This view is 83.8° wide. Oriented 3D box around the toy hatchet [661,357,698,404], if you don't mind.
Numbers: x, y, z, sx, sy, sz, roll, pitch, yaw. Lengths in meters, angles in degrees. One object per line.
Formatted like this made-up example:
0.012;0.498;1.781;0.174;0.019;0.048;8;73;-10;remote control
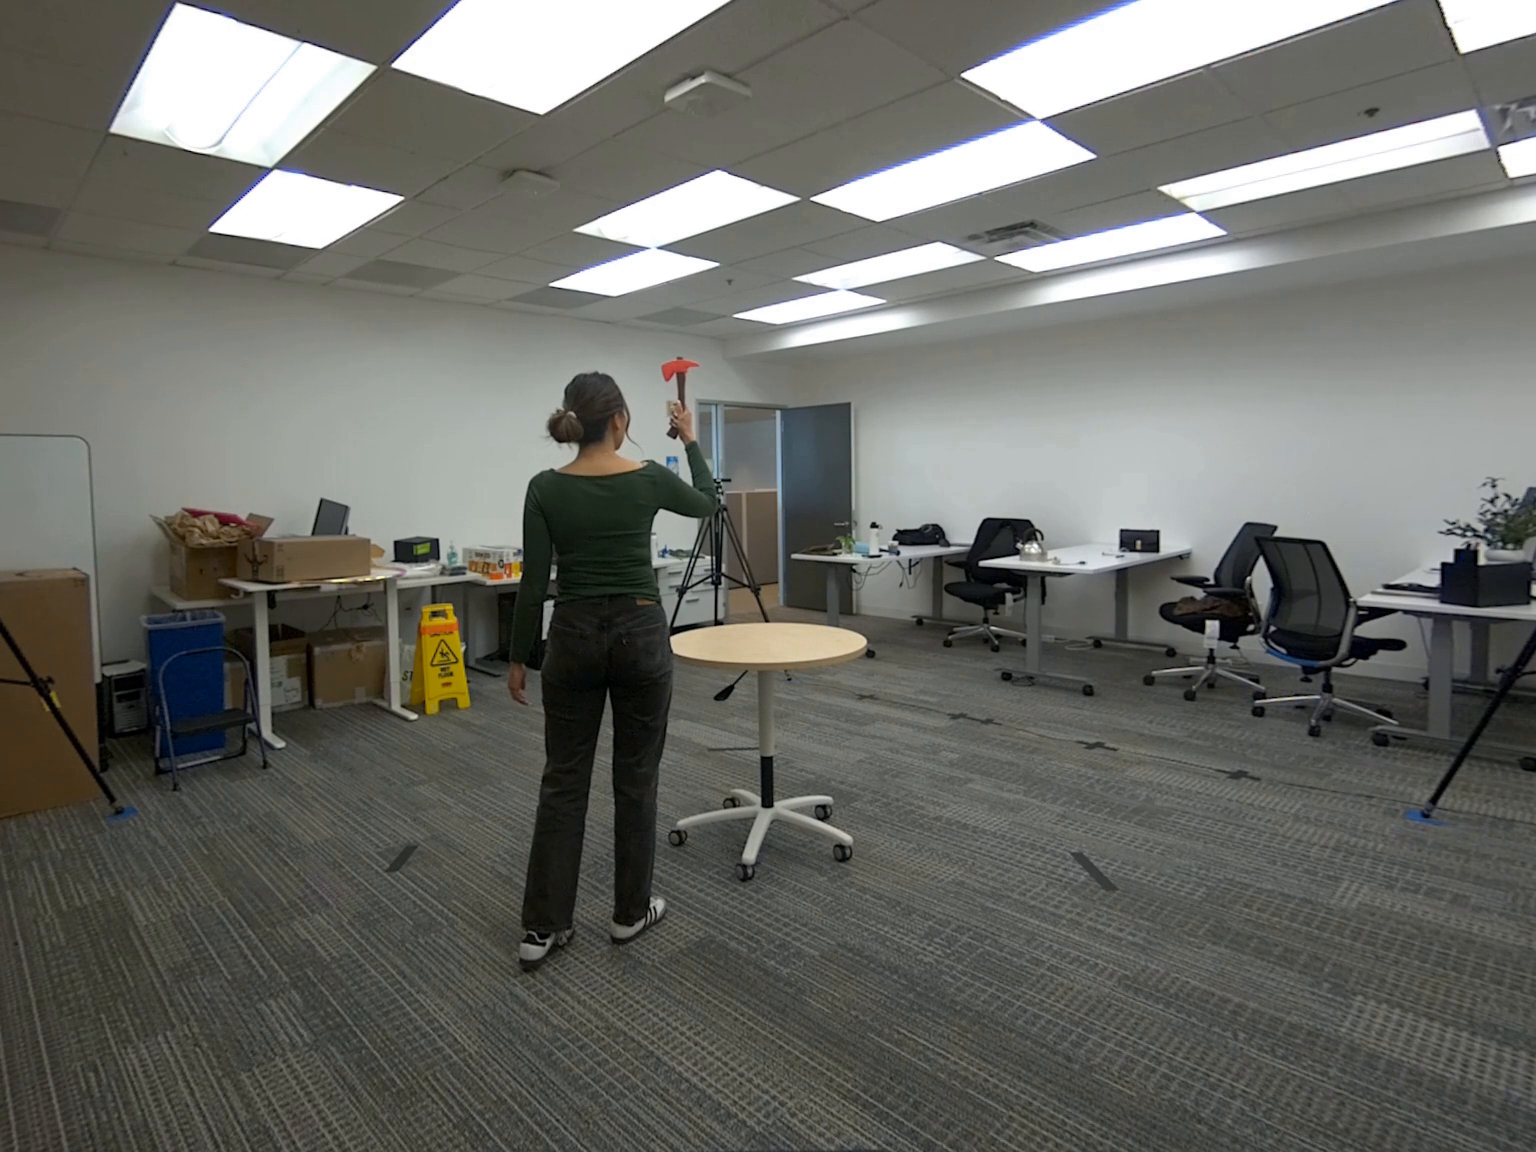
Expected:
-0.323;-0.608;2.888;0.133;0.268;0.029;18;9;14;toy hatchet
